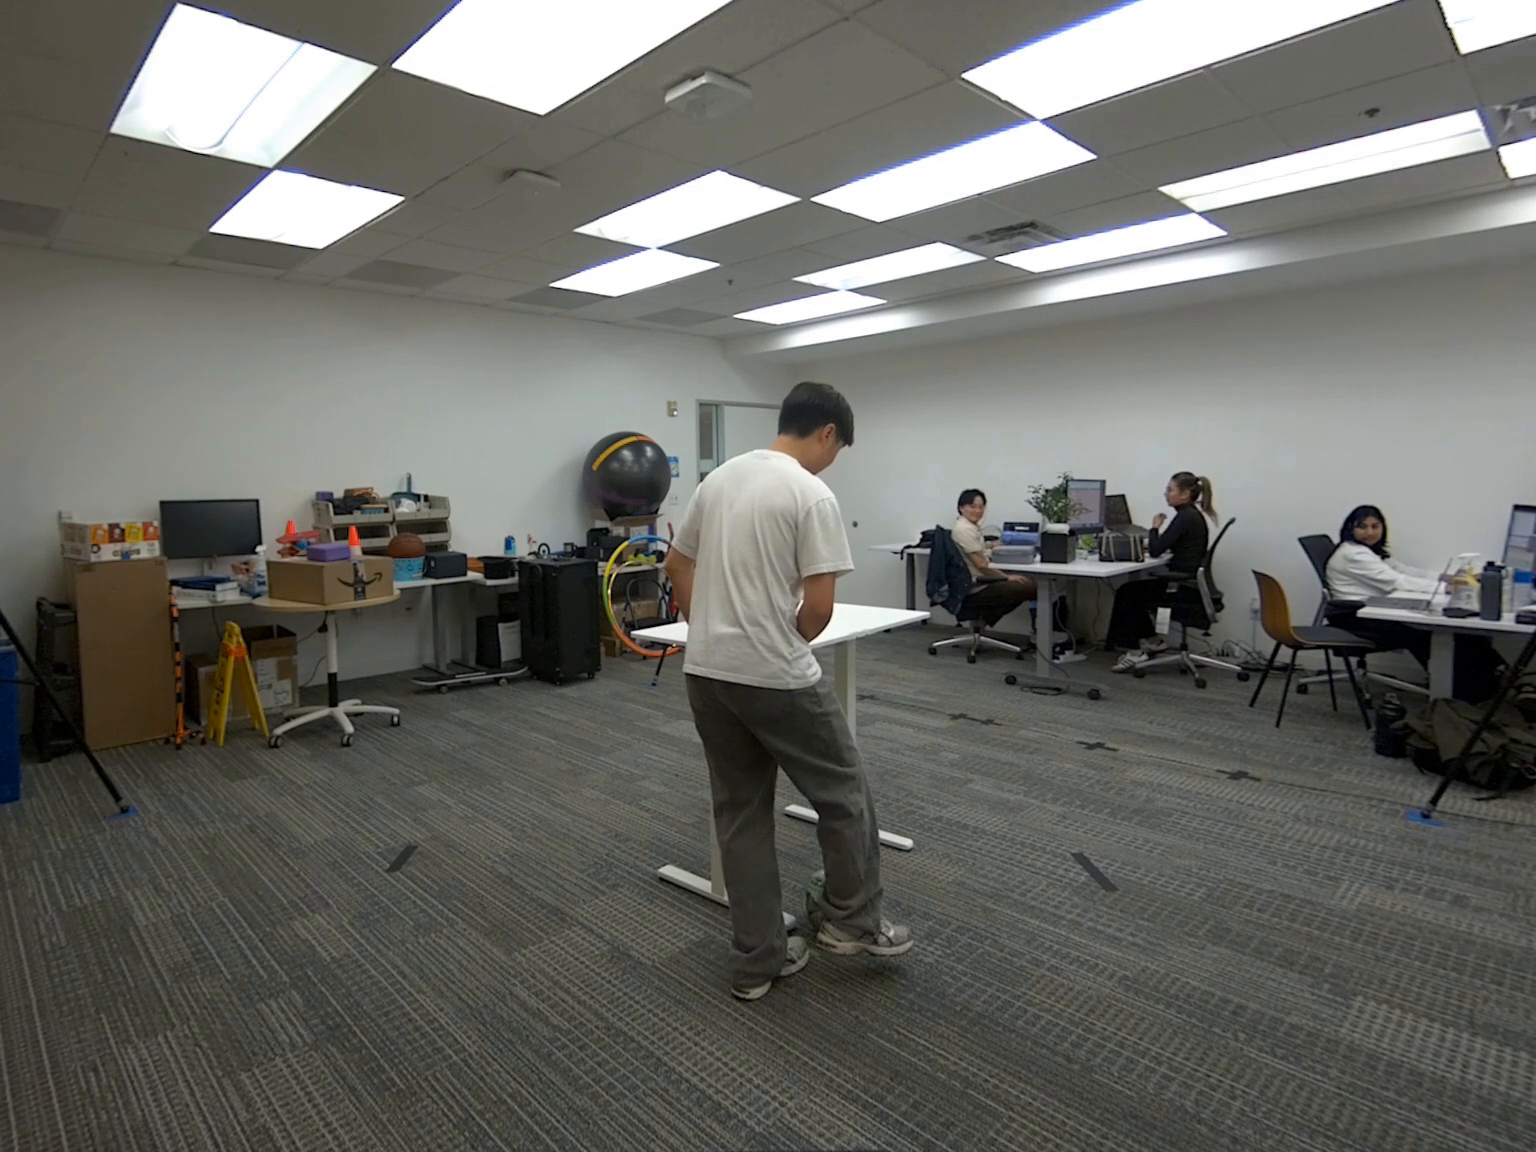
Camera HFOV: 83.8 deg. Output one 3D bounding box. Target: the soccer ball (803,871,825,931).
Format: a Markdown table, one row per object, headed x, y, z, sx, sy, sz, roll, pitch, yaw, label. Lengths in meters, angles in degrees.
| x | y | z | sx | sy | sz | roll | pitch | yaw | label |
| --- | --- | --- | --- | --- | --- | --- | --- | --- | --- |
| 0.206 | 1.006 | 2.645 | 0.187 | 0.187 | 0.188 | -1 | 5 | -2 | soccer ball |
